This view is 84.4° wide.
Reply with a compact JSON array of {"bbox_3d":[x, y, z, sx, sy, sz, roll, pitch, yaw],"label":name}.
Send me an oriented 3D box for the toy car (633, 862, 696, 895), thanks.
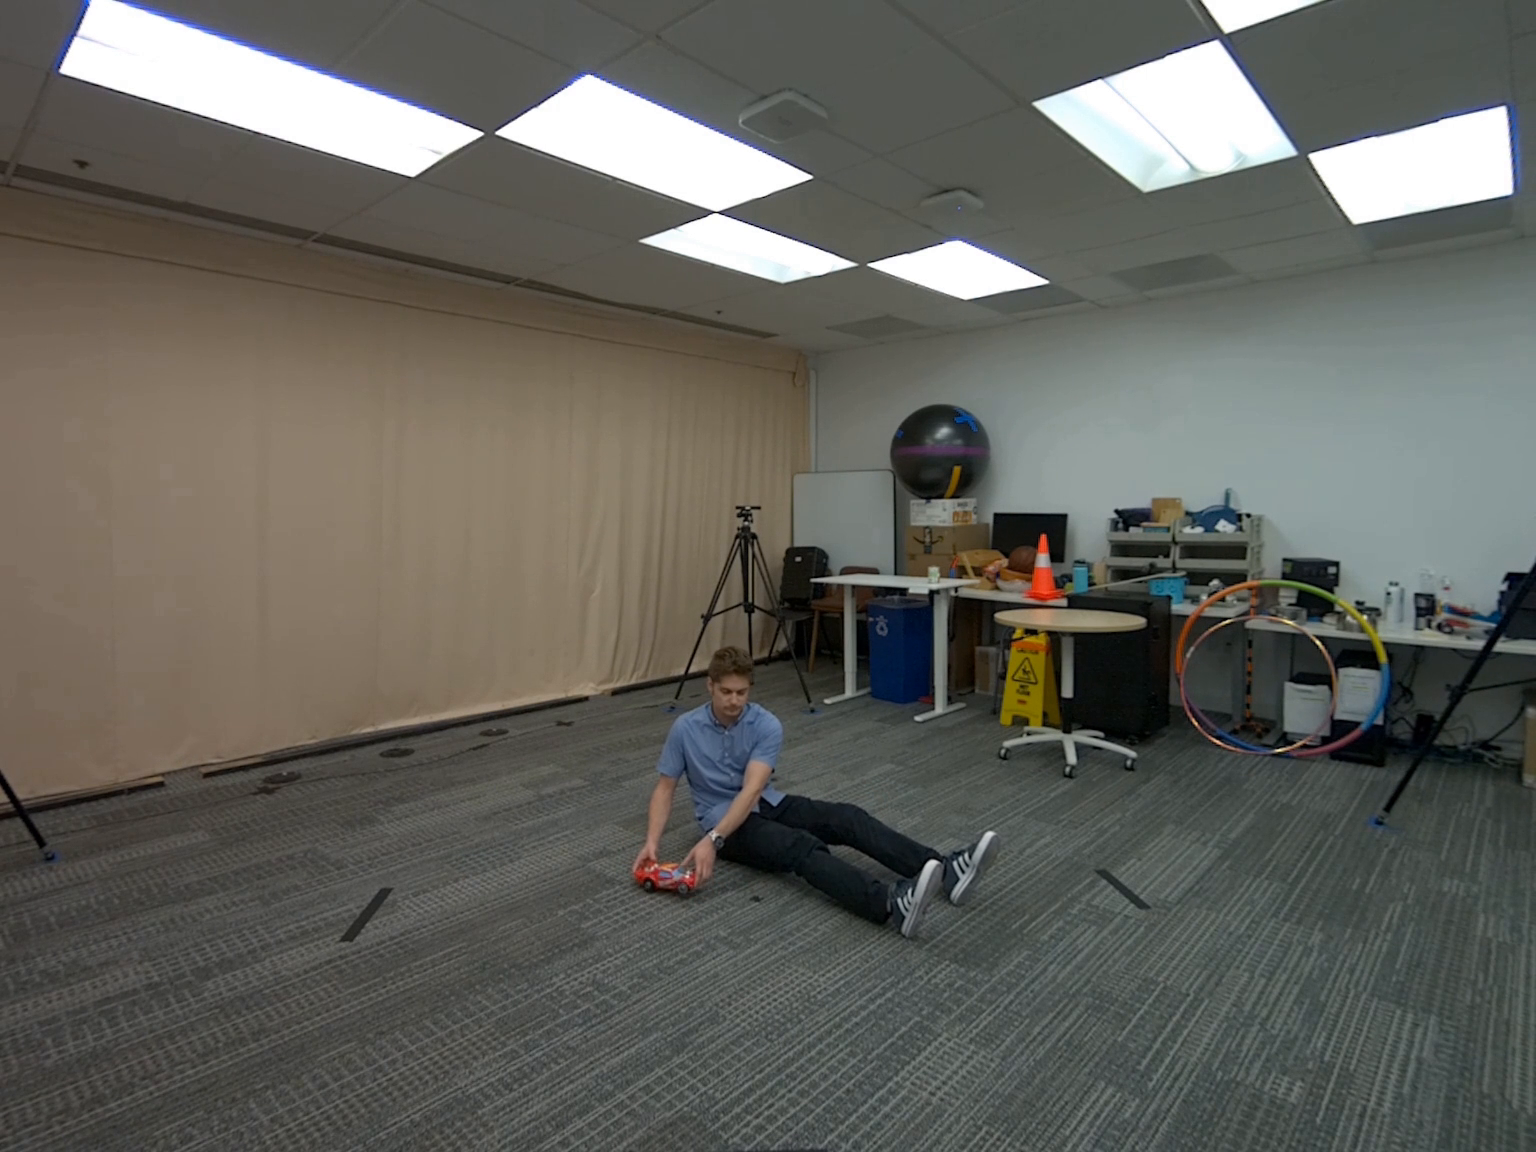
[{"bbox_3d":[-0.356,1.088,3.048,0.260,0.083,0.128,1,11,22],"label":"toy car"}]
